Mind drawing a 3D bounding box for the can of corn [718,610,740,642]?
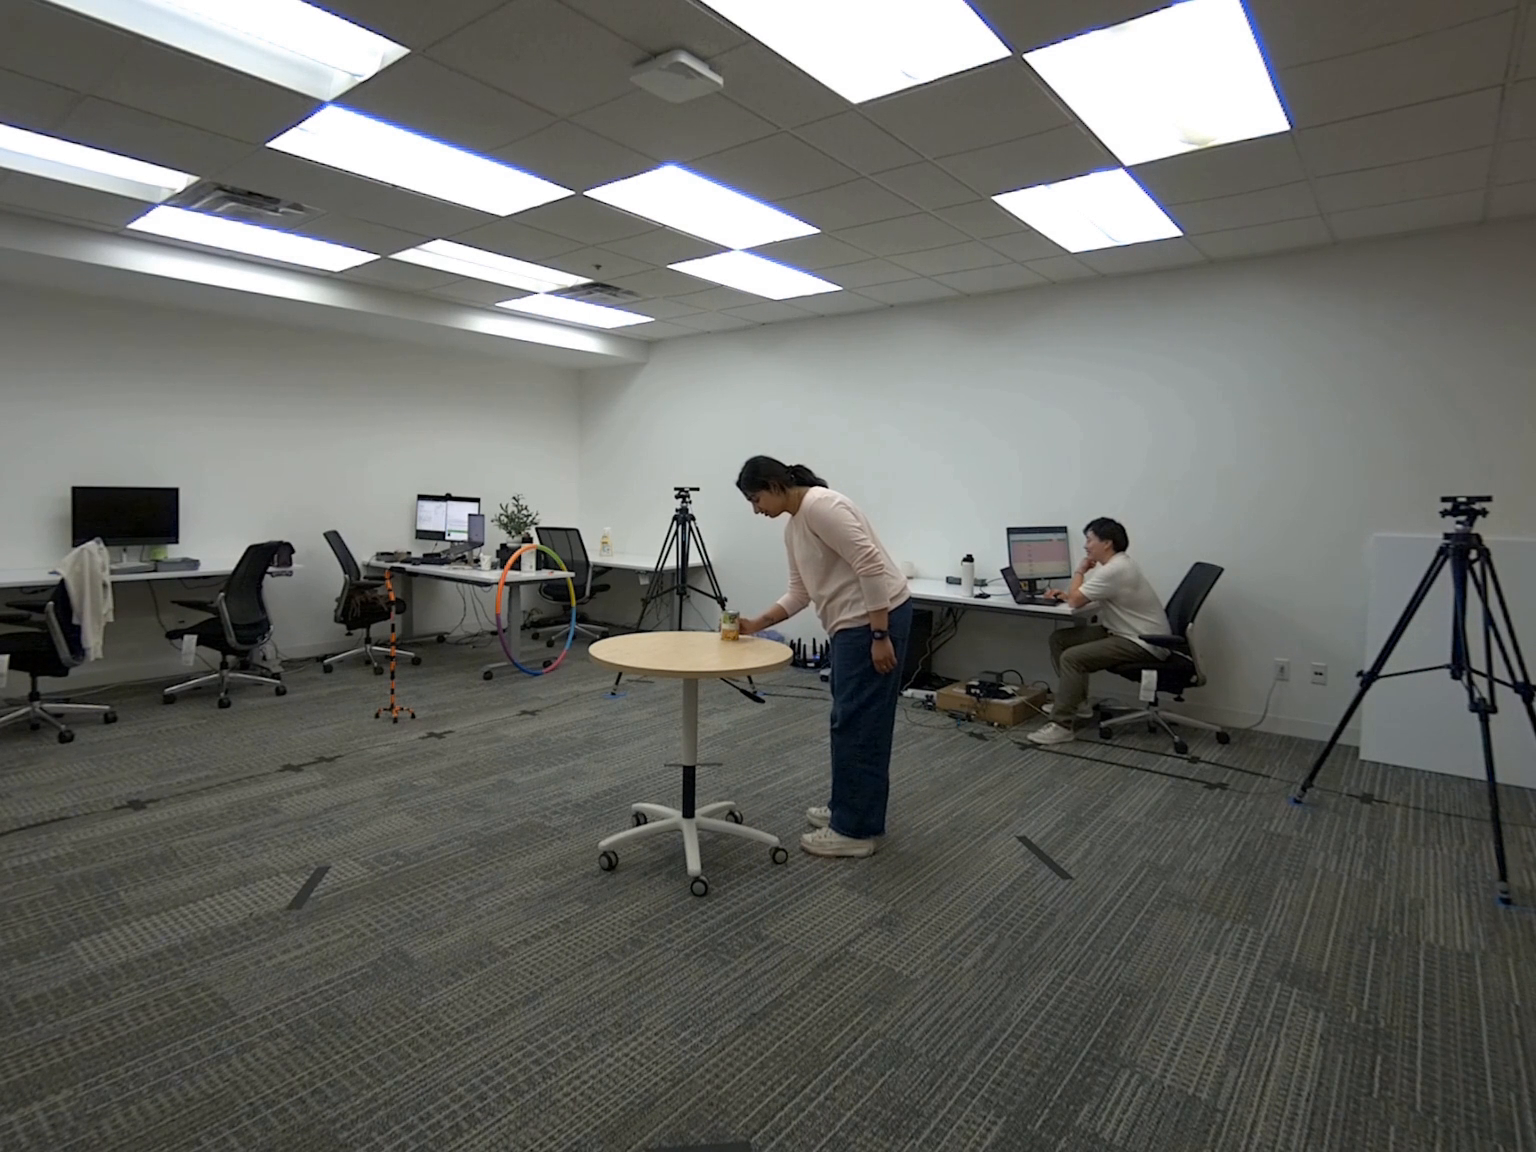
[{"bbox_3d":[-0.163,0.198,3.436,0.074,0.111,0.074,6,2,-2],"label":"can of corn"}]
